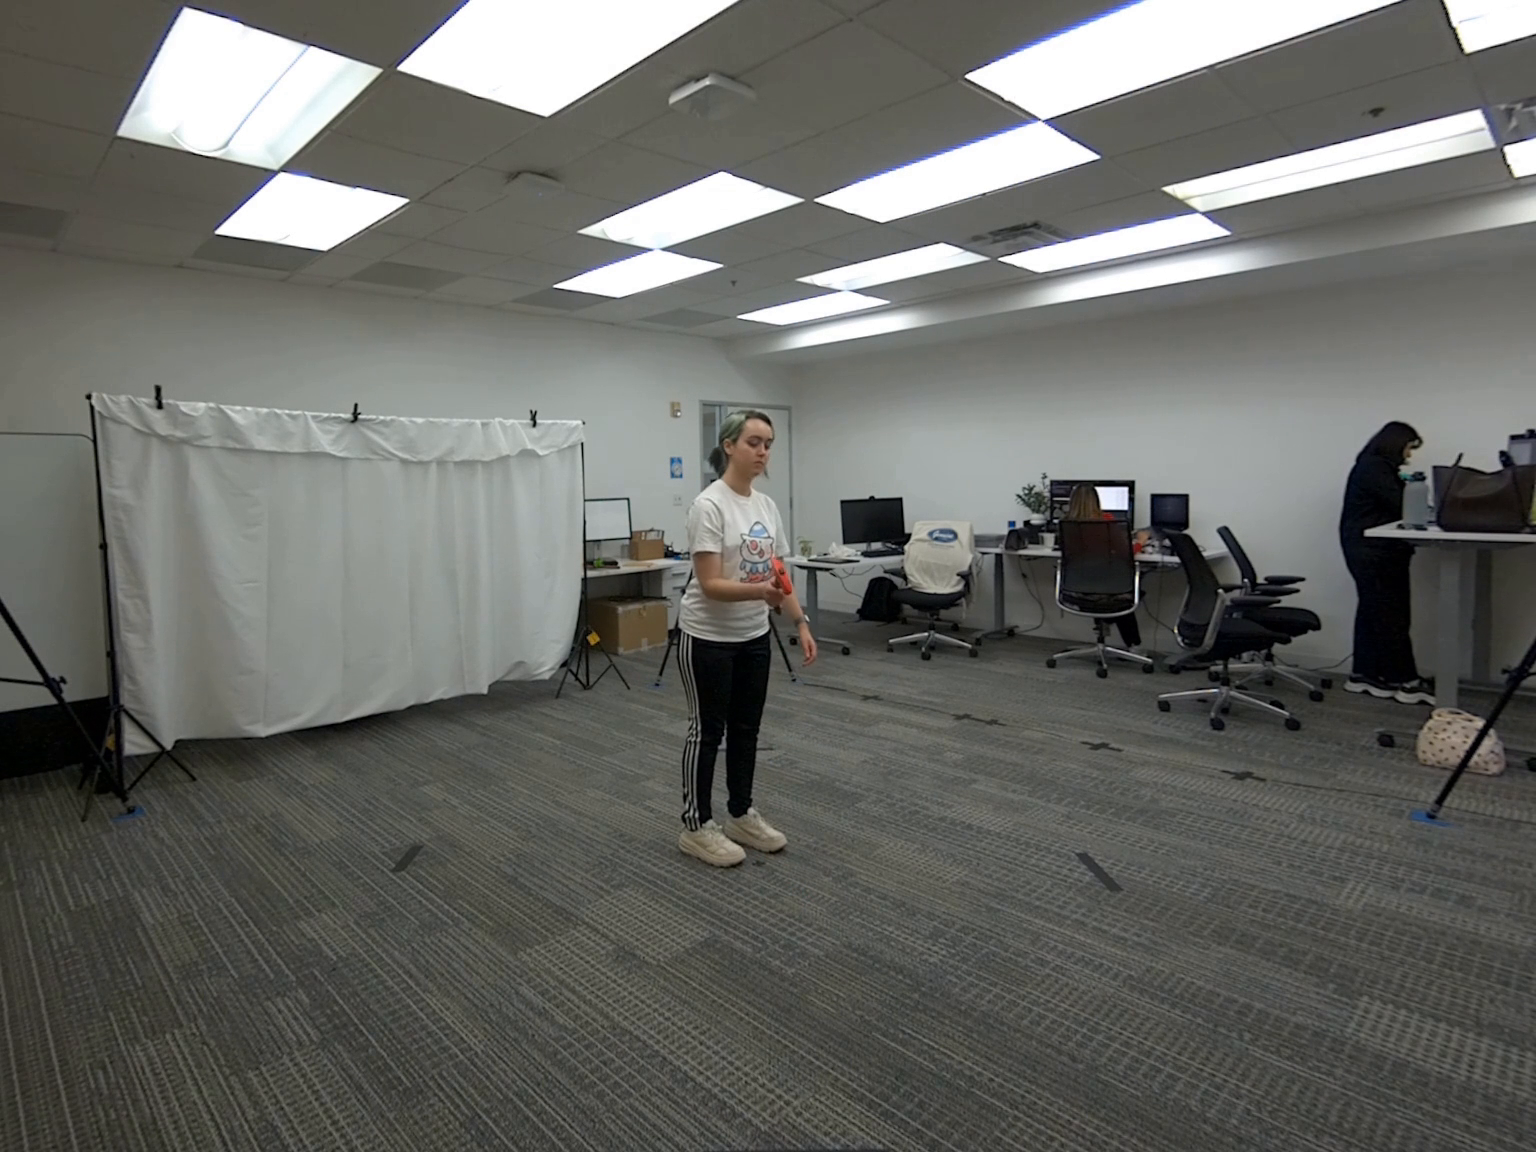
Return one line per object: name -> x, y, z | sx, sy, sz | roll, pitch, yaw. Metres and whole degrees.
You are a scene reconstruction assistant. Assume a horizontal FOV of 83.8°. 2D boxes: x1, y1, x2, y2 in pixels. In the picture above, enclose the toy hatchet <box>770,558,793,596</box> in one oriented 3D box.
toy hatchet -> 0.054, 0.078, 2.735 | 0.029, 0.262, 0.136 | -22, 50, -13
